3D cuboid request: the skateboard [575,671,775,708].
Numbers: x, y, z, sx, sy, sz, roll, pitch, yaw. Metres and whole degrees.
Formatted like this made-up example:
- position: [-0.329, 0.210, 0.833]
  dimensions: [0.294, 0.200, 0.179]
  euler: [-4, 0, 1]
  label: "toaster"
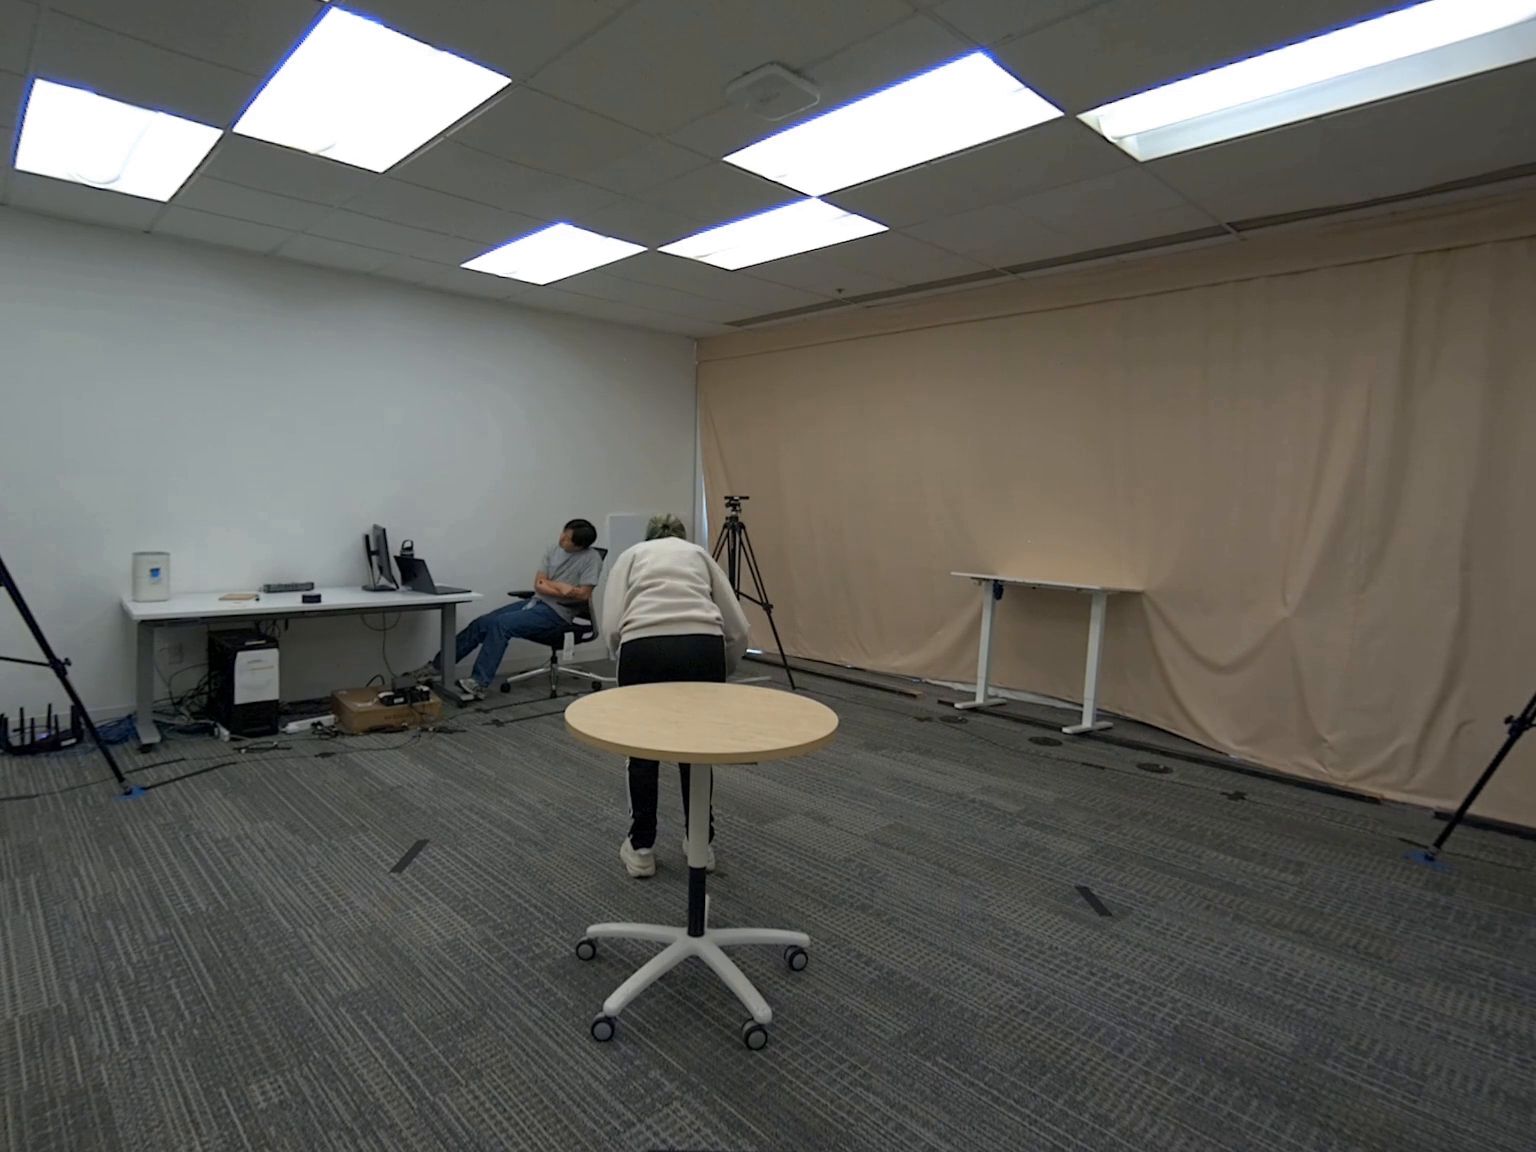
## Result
- position: [-0.382, 0.449, 3.403]
  dimensions: [0.797, 0.111, 0.189]
  euler: [-1, -6, 20]
  label: "skateboard"
